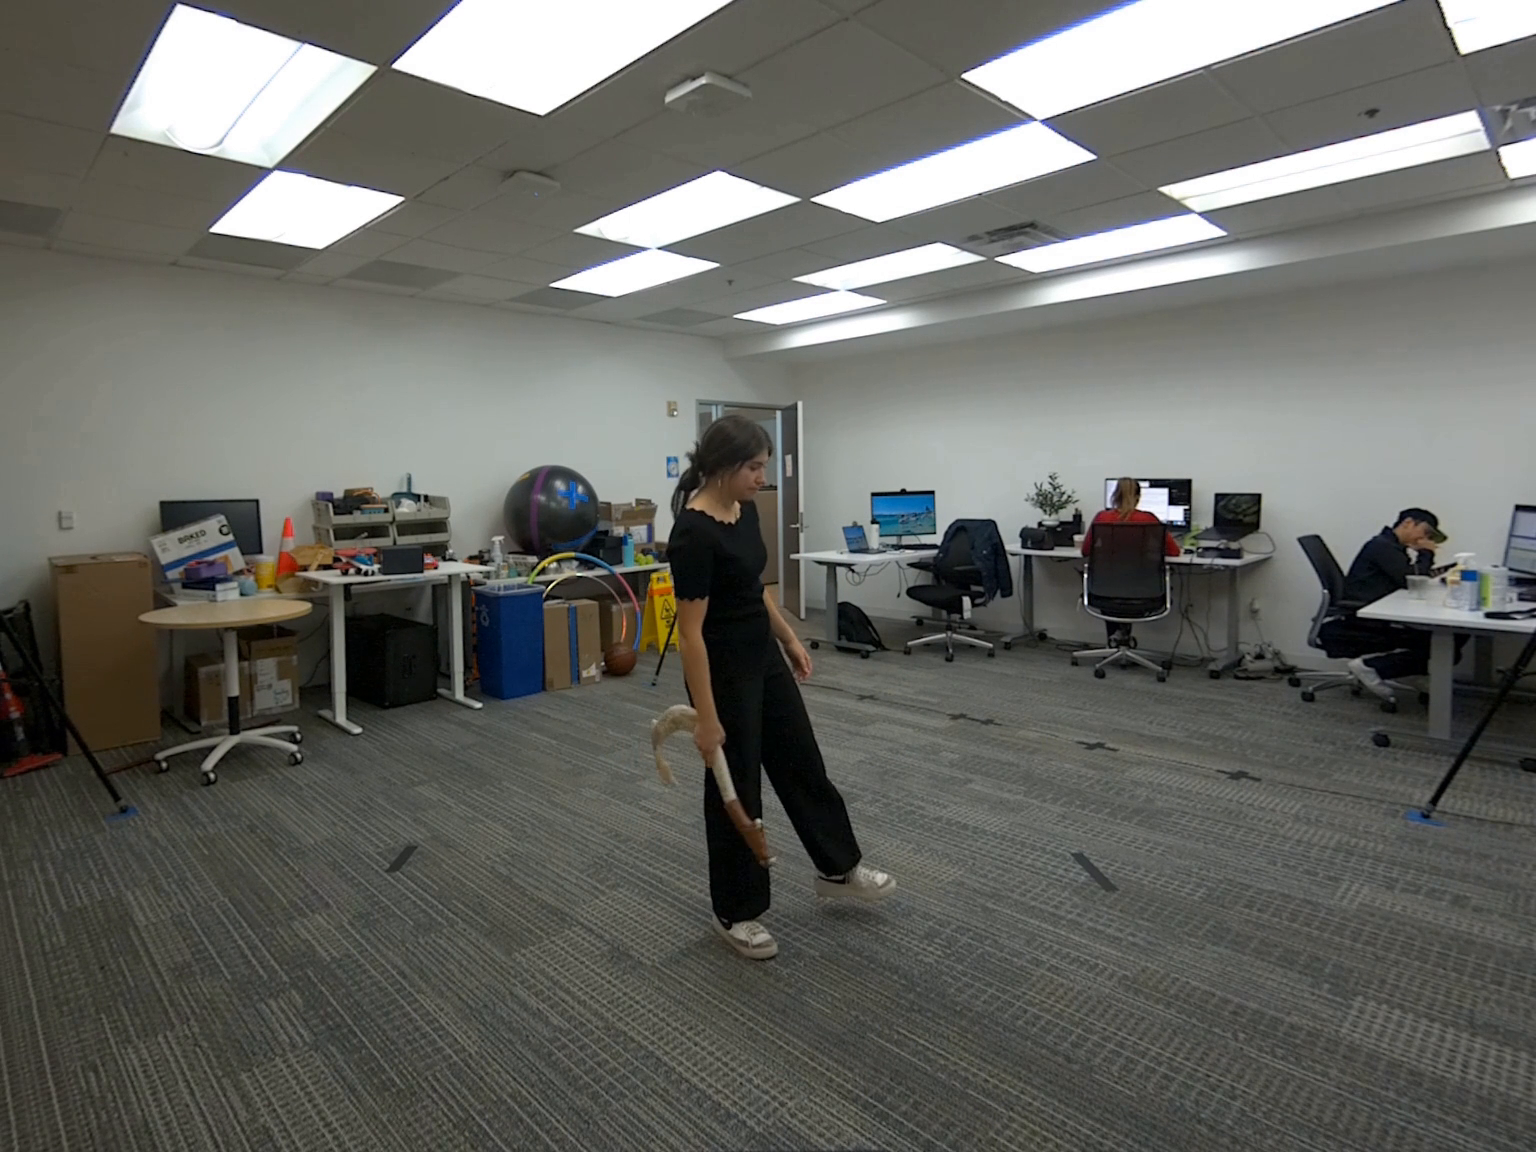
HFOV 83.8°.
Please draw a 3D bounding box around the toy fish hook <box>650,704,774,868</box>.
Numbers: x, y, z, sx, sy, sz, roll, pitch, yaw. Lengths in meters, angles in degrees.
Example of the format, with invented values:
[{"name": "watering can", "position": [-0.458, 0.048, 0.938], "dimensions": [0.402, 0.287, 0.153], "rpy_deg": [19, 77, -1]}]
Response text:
[{"name": "toy fish hook", "position": [-0.151, 0.605, 2.386], "dimensions": [0.225, 0.516, 0.047], "rpy_deg": [-40, -16, 28]}]
